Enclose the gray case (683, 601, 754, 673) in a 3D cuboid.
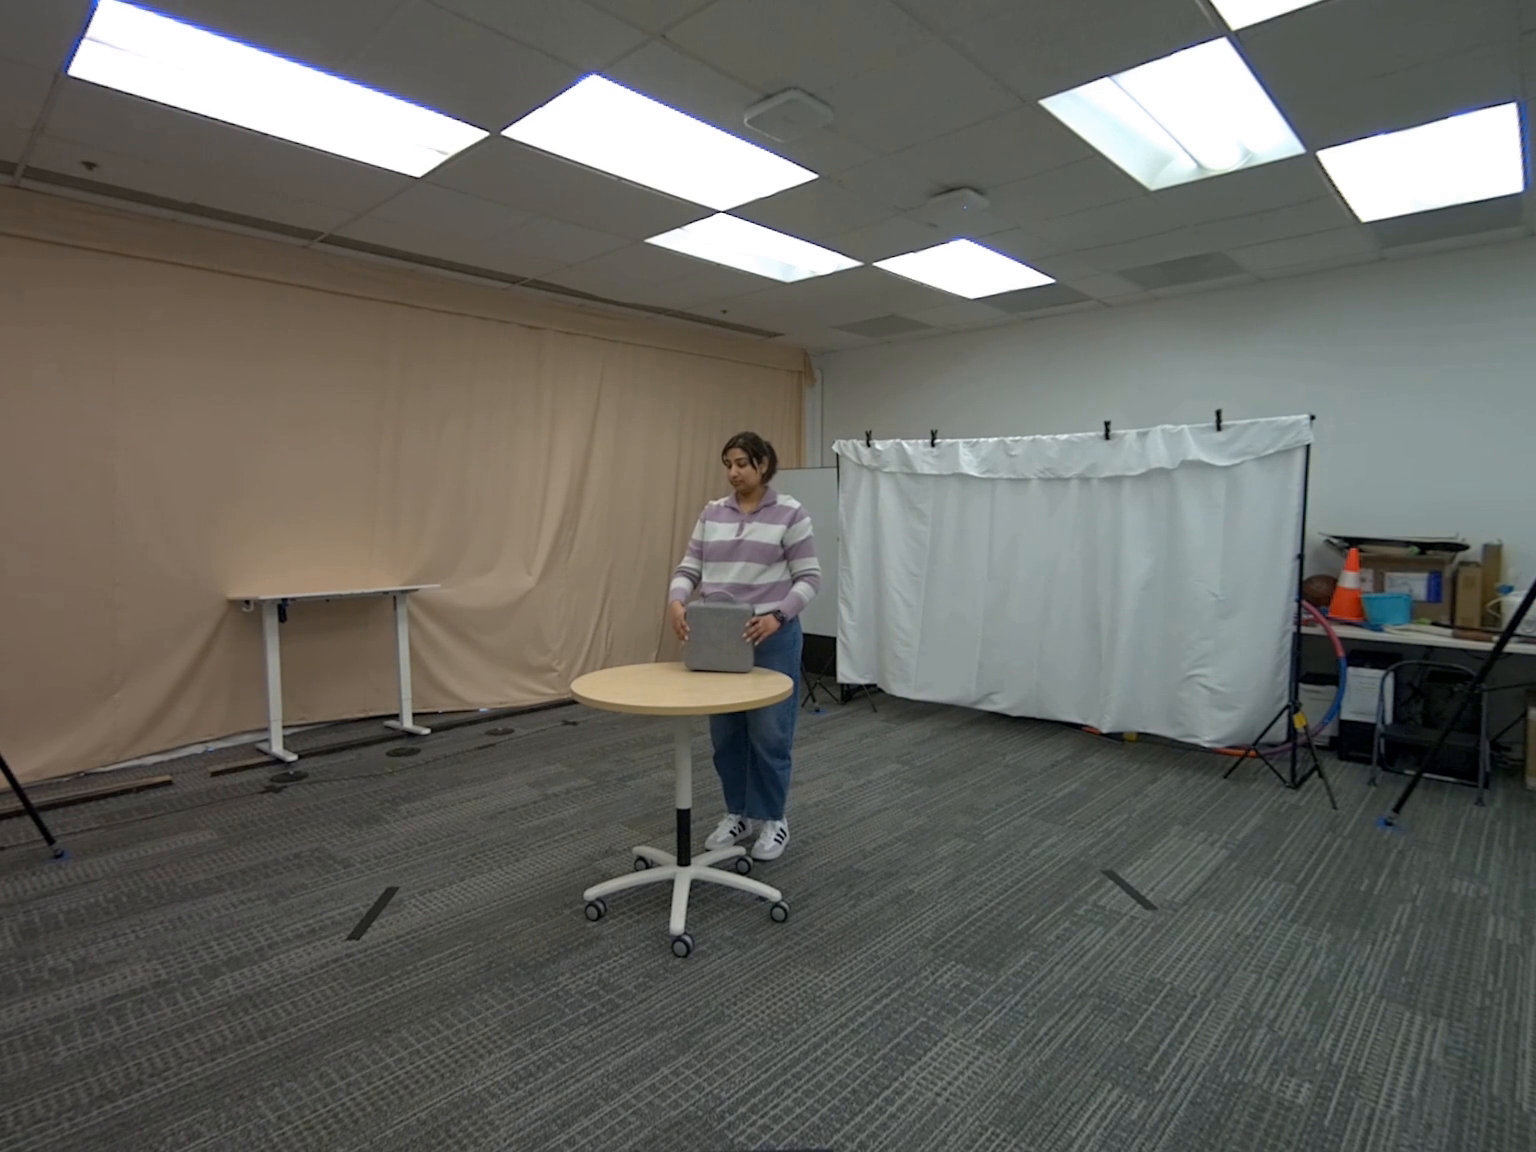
[{"bbox_3d":[-0.176,0.220,3.103,0.260,0.260,0.103,3,5,10],"label":"gray case"}]
